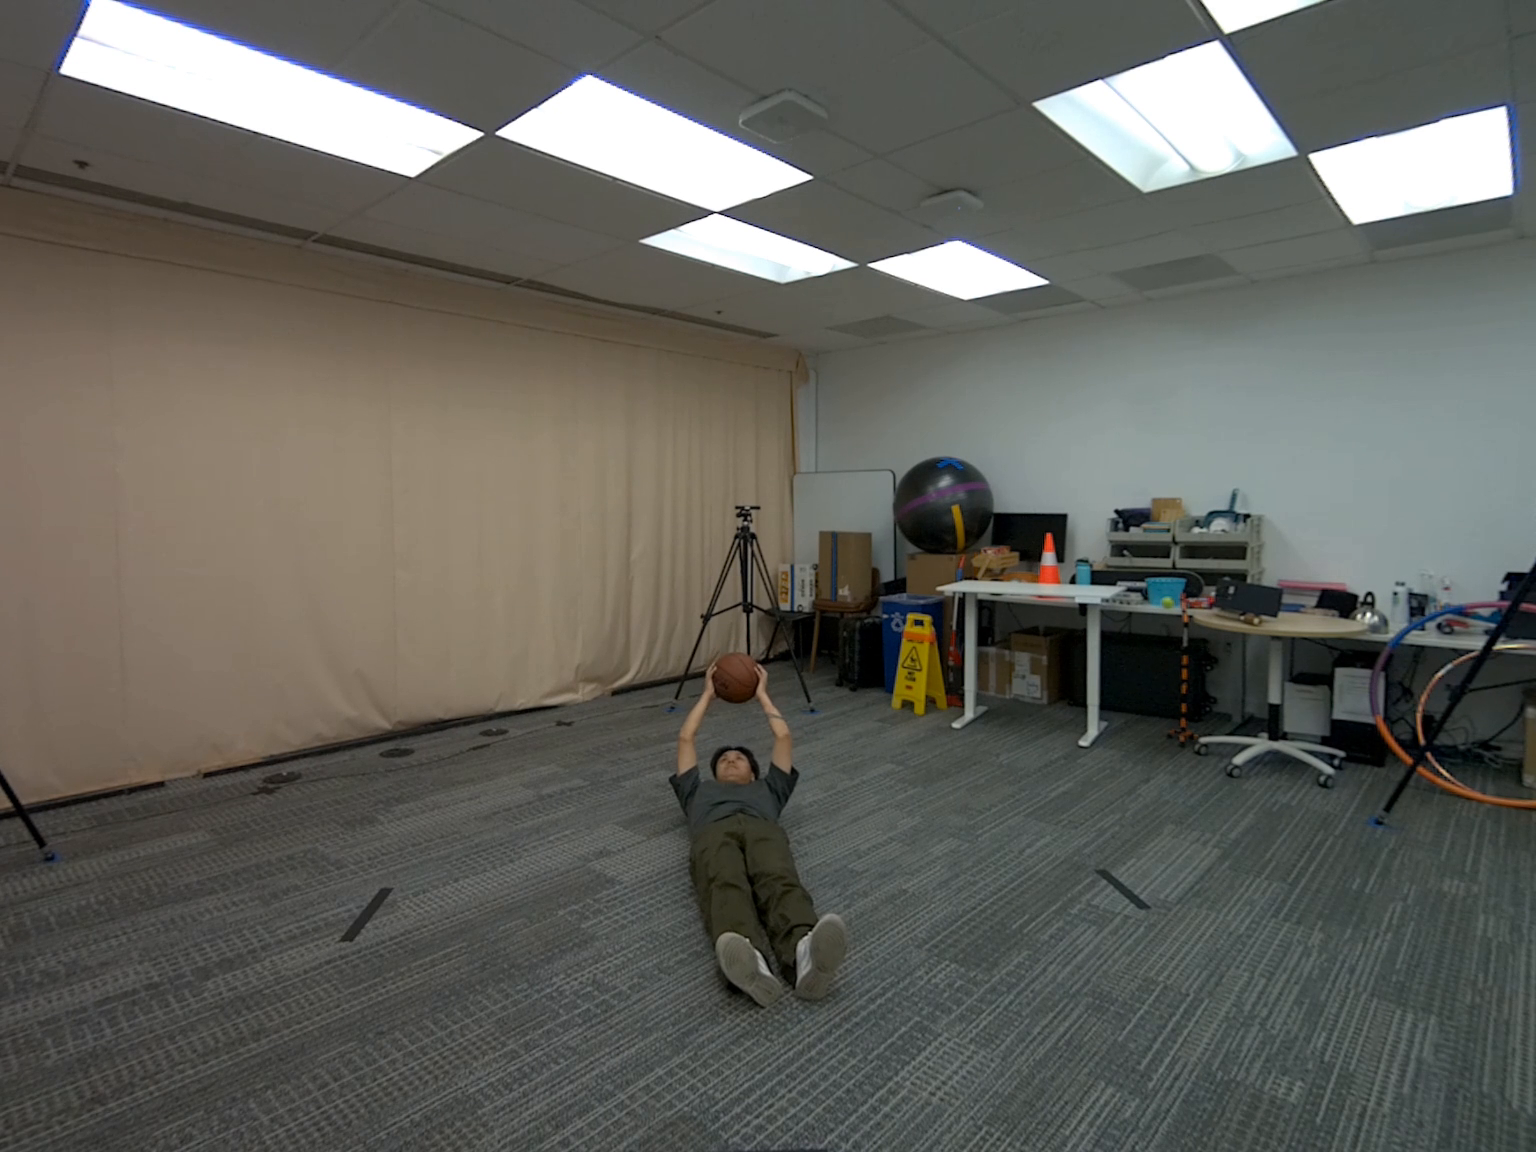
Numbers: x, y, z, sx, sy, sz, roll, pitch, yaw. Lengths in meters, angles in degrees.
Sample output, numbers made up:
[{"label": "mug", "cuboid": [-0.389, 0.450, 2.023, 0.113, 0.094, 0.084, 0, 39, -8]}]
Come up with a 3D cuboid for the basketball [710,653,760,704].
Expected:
[{"label": "basketball", "cuboid": [-0.144, 0.475, 3.929, 0.236, 0.235, 0.237, 0, 4, -2]}]
